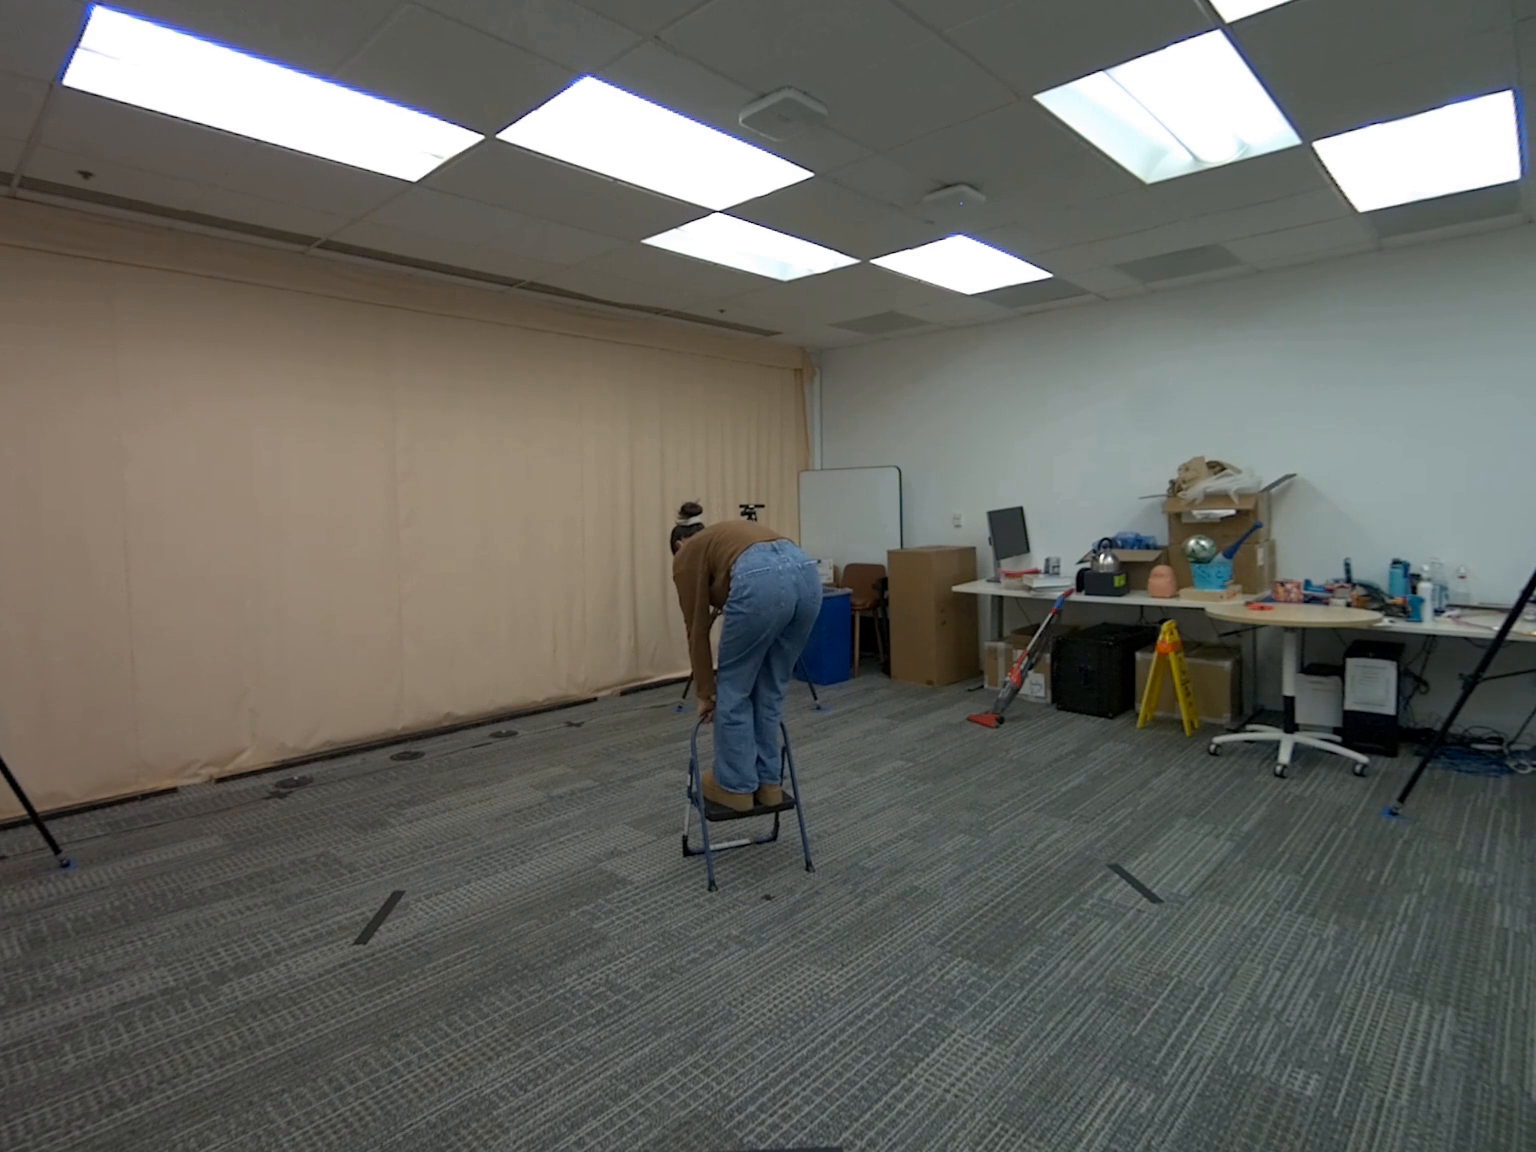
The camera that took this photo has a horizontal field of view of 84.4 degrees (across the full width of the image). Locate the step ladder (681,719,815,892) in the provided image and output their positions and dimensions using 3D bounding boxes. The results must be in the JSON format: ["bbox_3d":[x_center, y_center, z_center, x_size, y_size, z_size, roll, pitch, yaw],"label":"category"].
[{"bbox_3d":[-0.087,0.820,3.259,0.421,0.604,0.358,-3,4,-23],"label":"step ladder"}]
